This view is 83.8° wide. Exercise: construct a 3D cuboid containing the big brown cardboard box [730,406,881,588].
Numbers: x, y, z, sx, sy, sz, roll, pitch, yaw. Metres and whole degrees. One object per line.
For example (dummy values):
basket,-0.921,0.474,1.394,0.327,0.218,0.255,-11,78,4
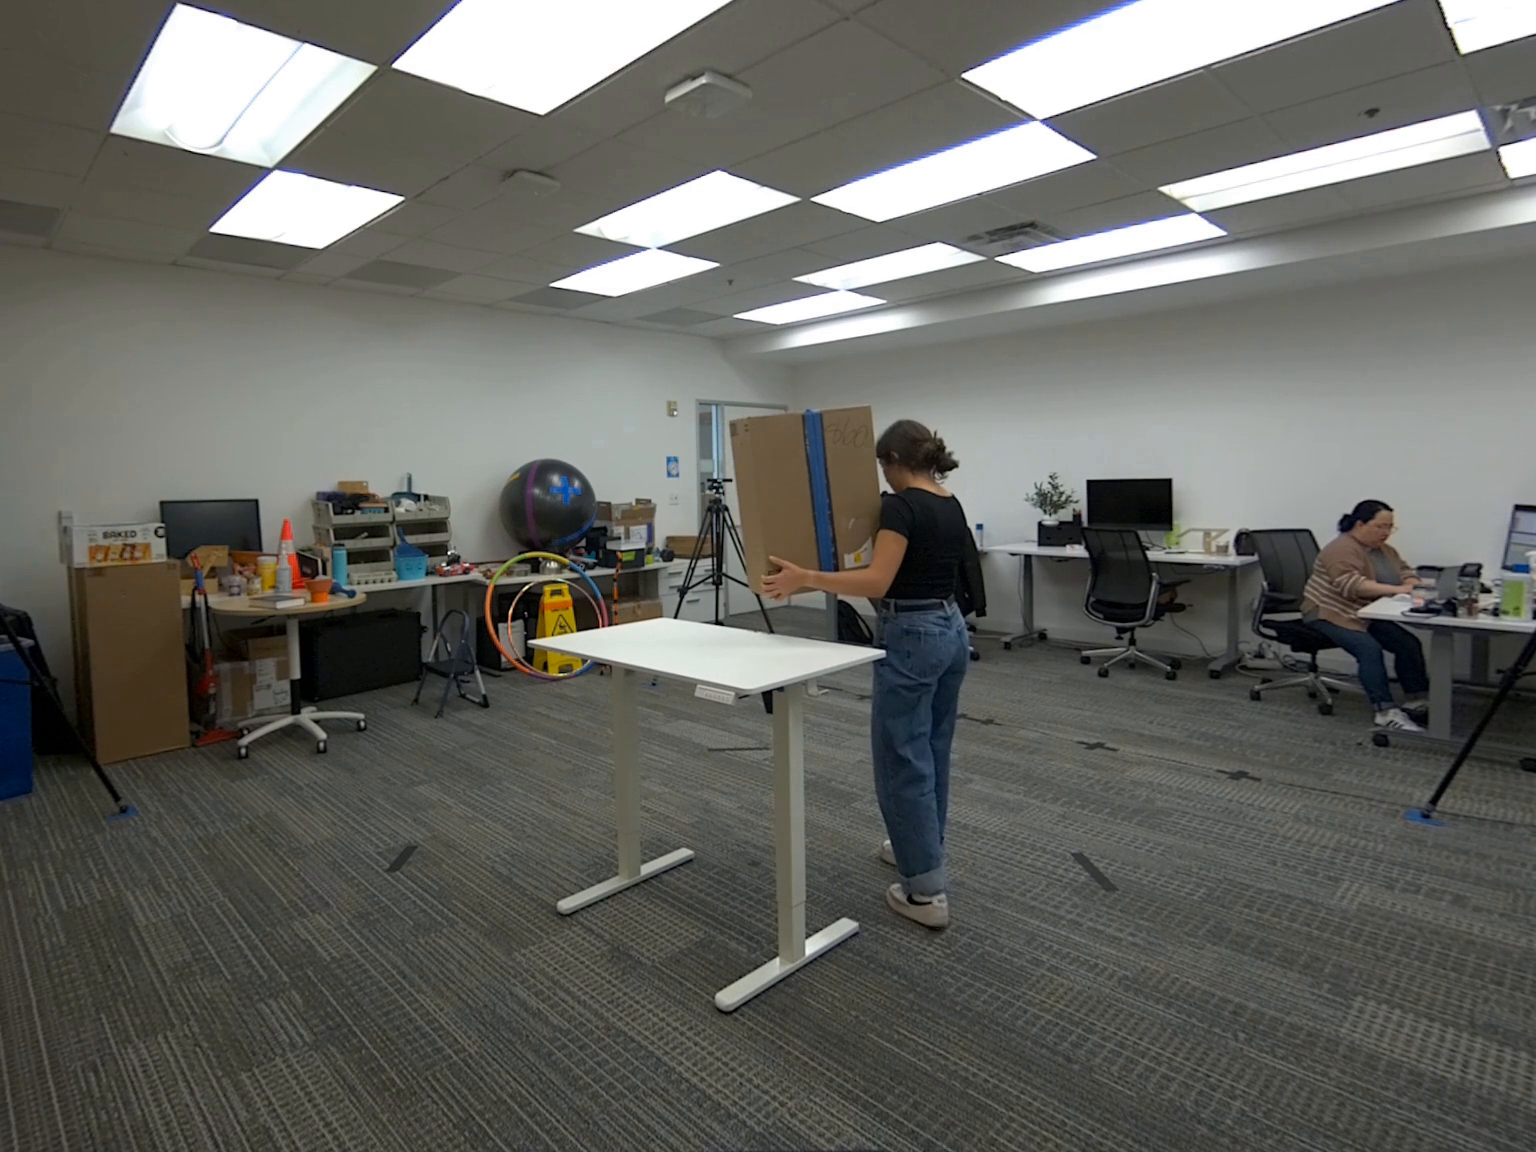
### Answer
big brown cardboard box,0.132,-0.246,2.785,0.412,0.586,0.237,-9,6,-16
